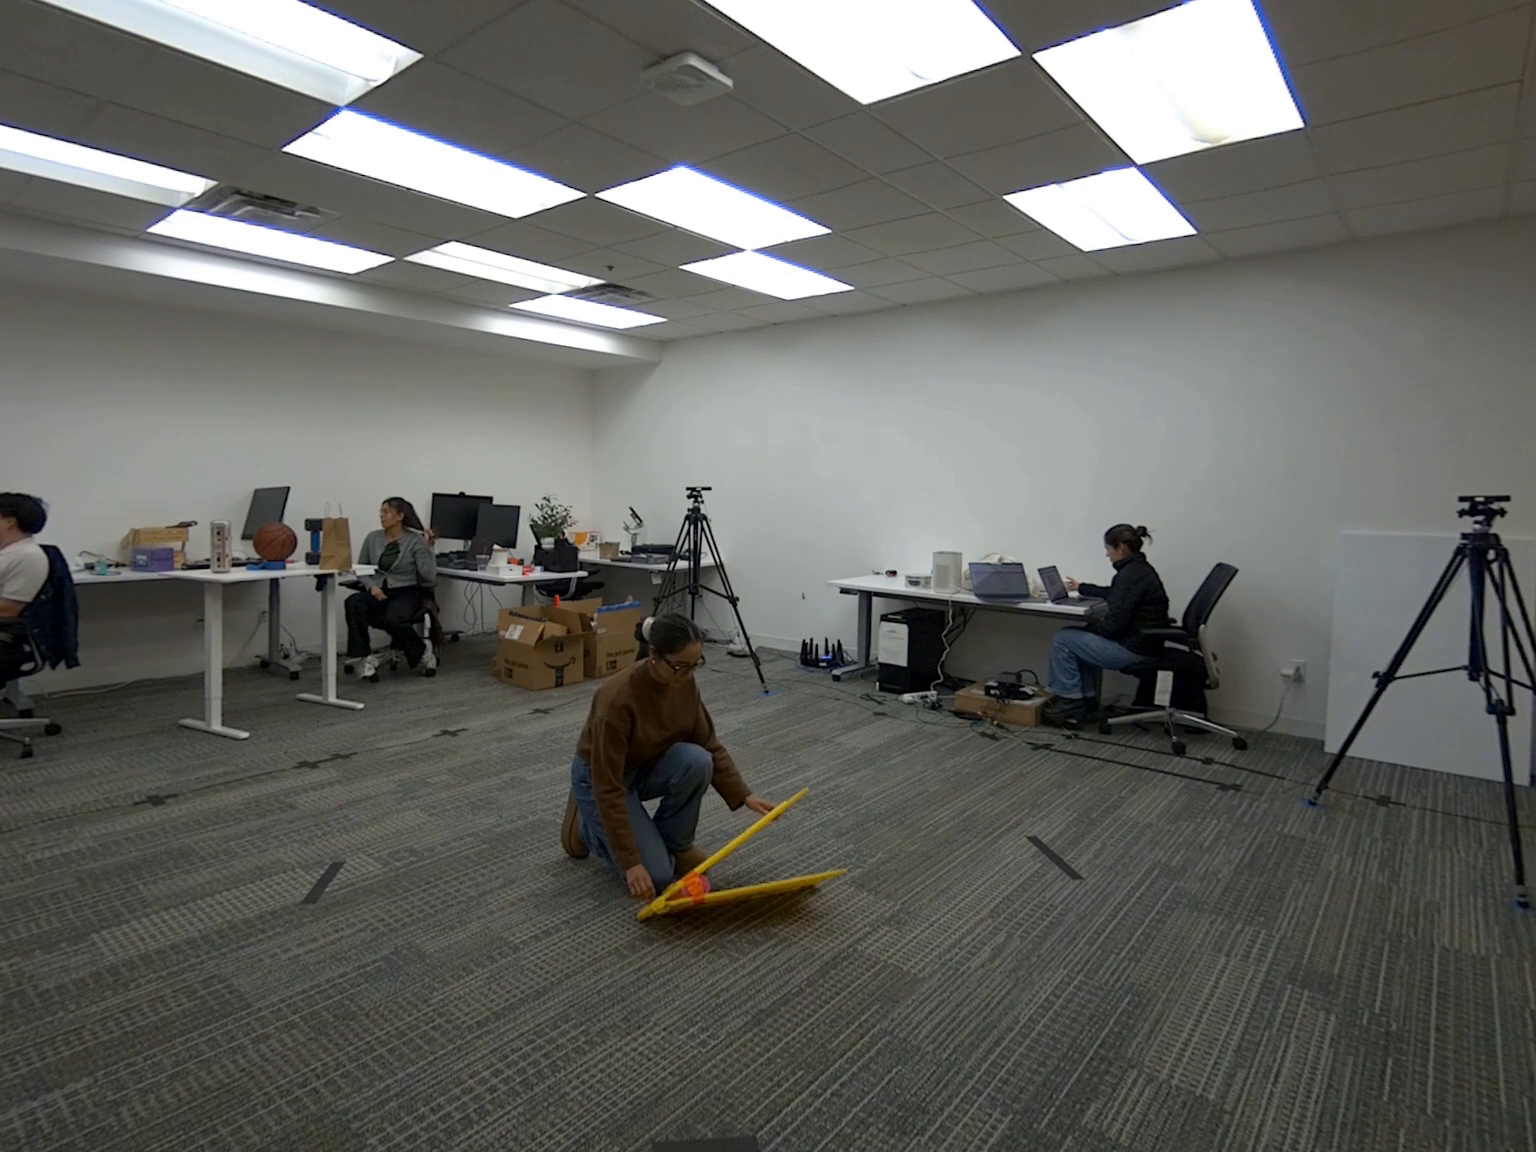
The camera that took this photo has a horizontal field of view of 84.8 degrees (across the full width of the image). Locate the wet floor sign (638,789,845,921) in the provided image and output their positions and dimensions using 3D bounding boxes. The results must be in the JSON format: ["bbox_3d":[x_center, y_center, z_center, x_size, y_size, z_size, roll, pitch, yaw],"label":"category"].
[{"bbox_3d":[-0.124,0.978,2.796,0.633,0.297,0.280,-15,-22,-28],"label":"wet floor sign"}]
